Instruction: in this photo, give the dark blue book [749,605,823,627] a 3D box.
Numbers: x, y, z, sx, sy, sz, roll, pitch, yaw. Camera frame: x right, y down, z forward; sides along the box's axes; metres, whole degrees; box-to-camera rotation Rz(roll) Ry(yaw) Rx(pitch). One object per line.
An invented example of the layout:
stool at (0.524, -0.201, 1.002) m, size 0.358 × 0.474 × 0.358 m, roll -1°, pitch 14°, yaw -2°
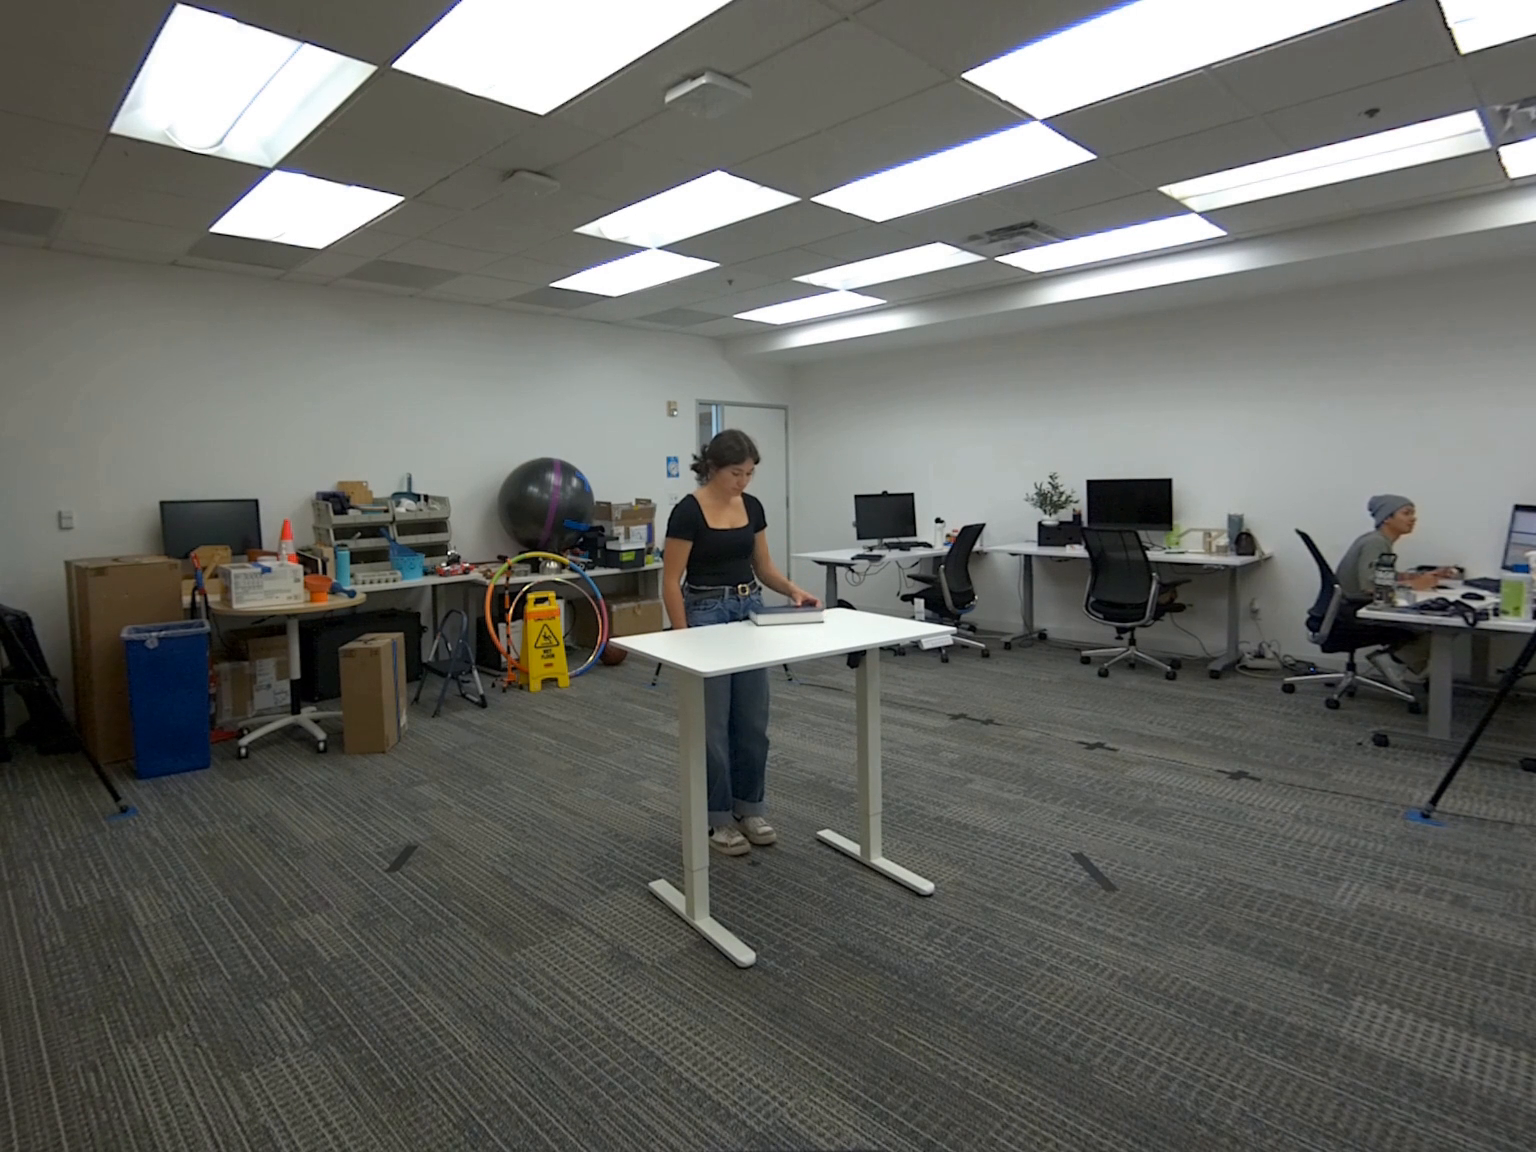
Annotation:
dark blue book at (0.057, 0.145, 3.084) m, size 0.243 × 0.045 × 0.165 m, roll -2°, pitch 6°, yaw -9°
